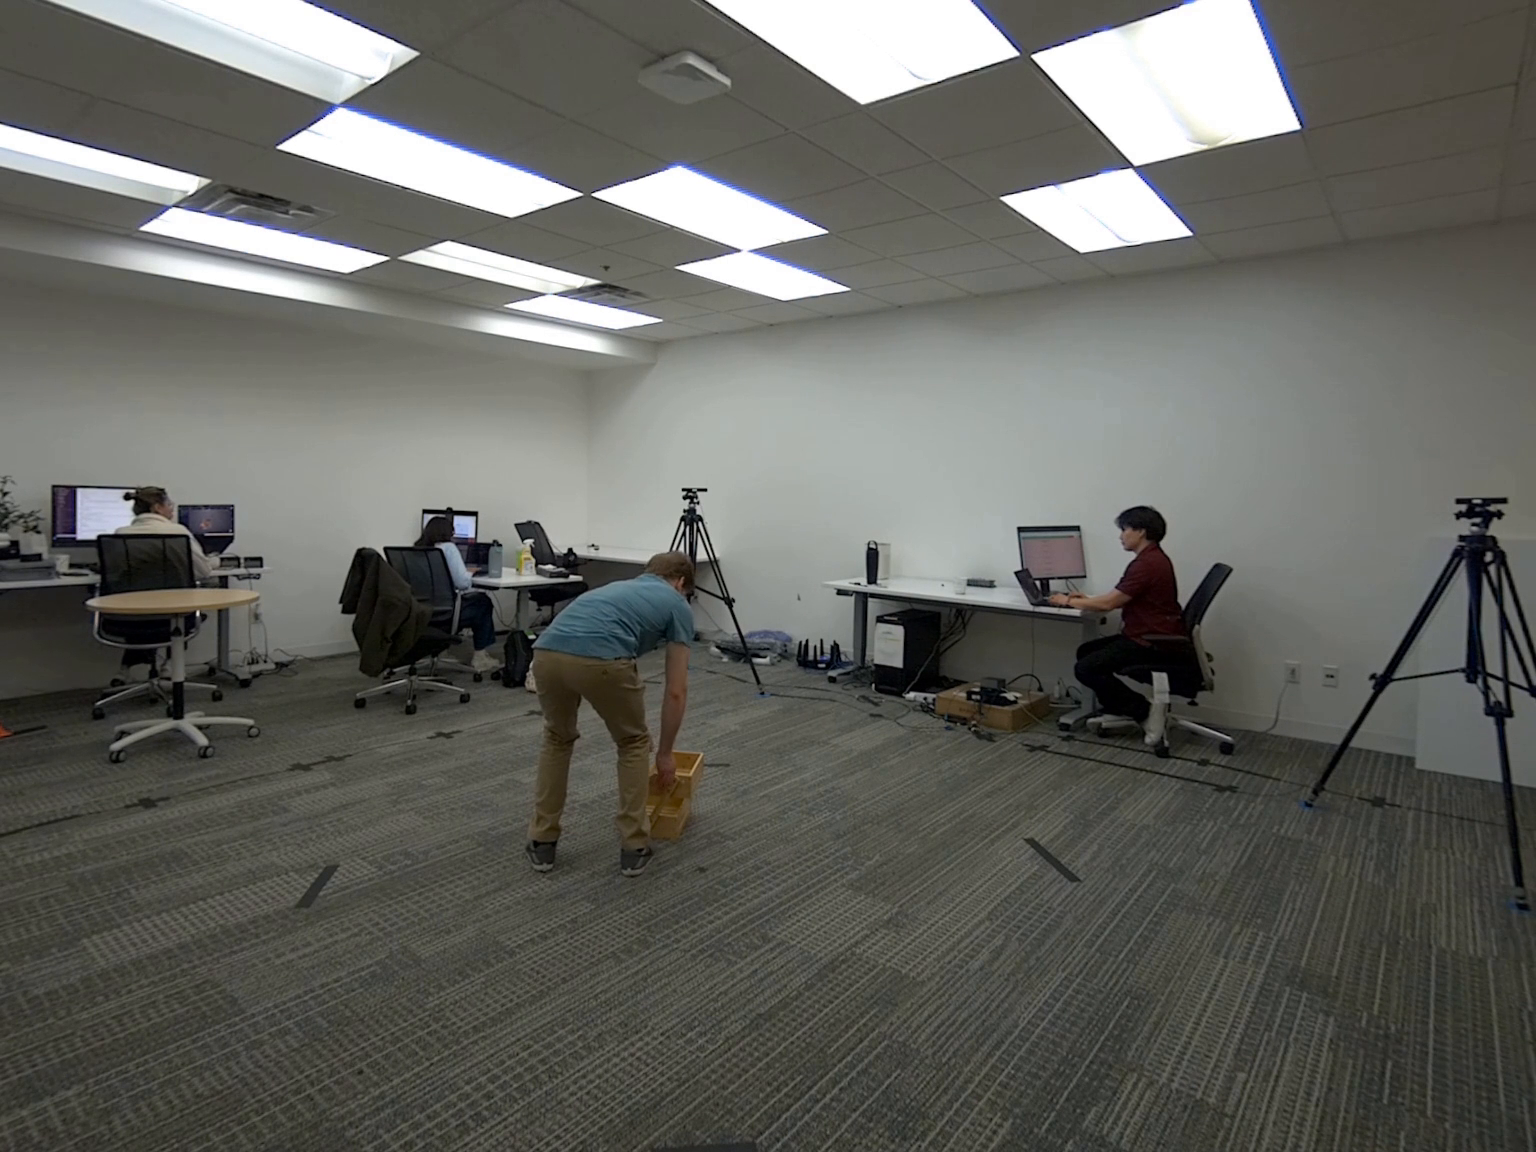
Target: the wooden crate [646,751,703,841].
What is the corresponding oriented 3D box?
[{"bbox_3d":[-0.457,0.895,3.529,0.305,0.272,0.323,1,5,7],"label":"wooden crate"}]
